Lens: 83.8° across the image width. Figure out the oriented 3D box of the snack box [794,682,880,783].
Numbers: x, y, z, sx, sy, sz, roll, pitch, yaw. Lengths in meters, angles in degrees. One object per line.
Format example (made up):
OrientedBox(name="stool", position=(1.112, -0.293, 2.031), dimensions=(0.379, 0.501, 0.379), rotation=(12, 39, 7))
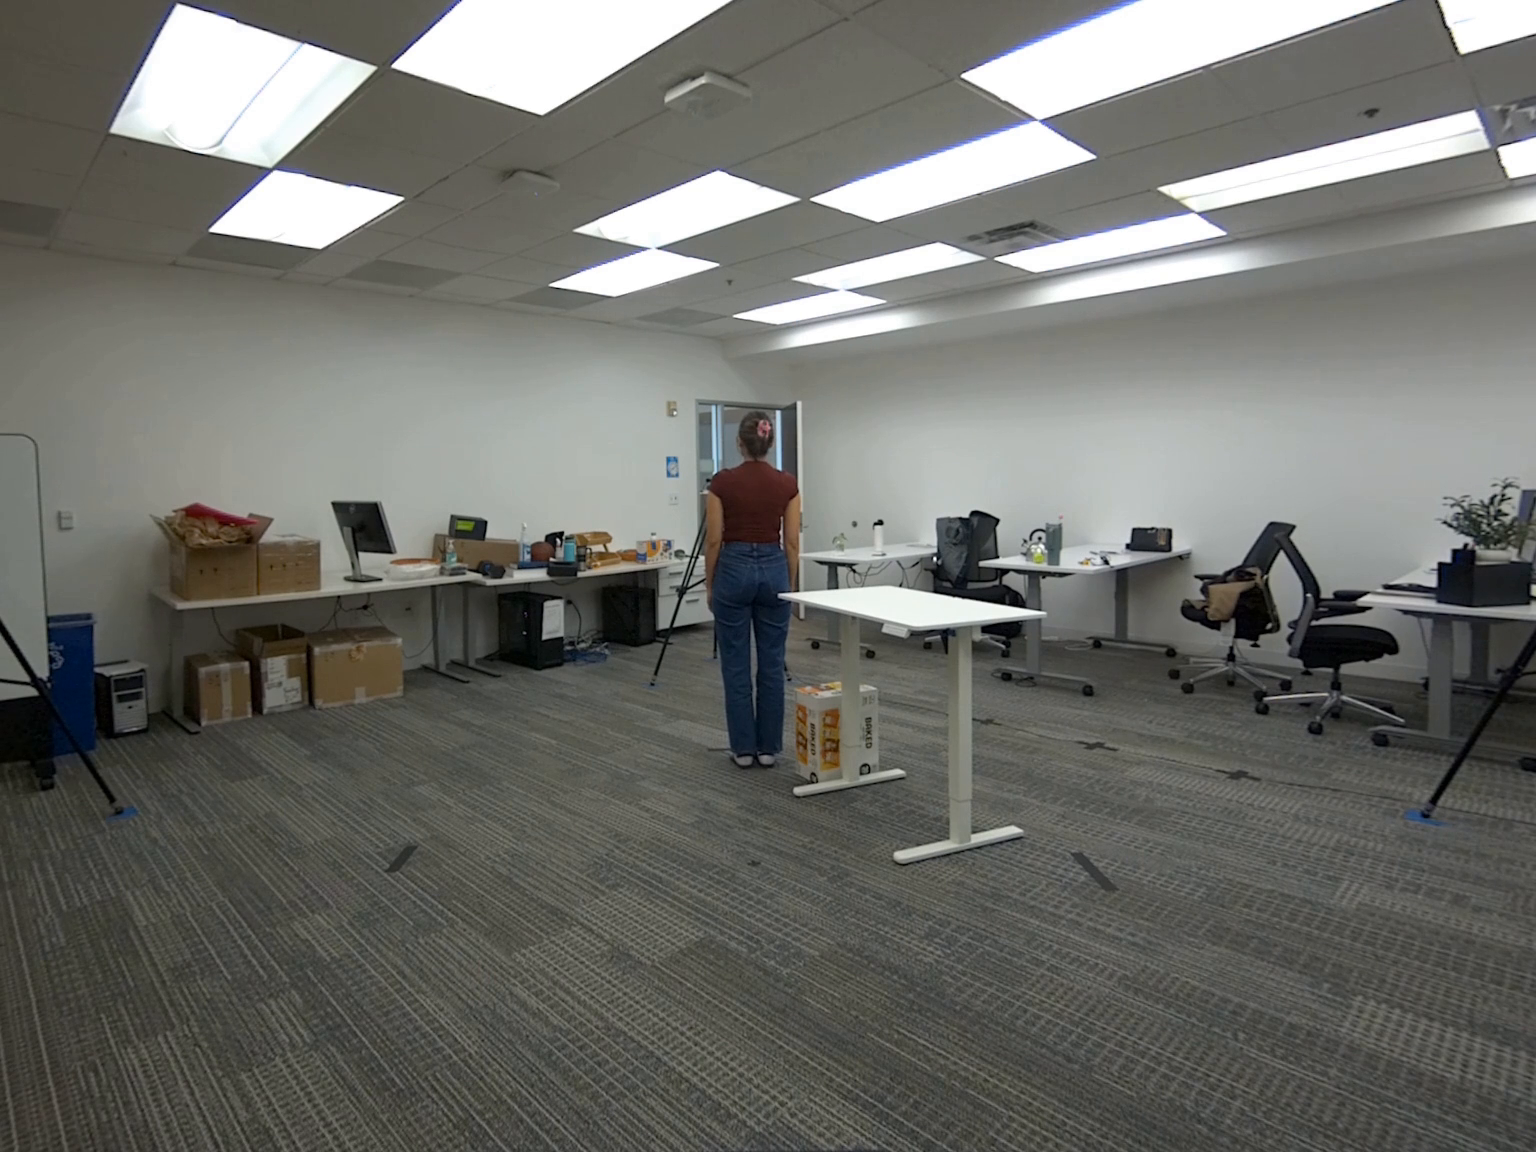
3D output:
OrientedBox(name="snack box", position=(0.318, 0.723, 4.028), dimensions=(0.333, 0.403, 0.211), rotation=(-4, 5, -28))
